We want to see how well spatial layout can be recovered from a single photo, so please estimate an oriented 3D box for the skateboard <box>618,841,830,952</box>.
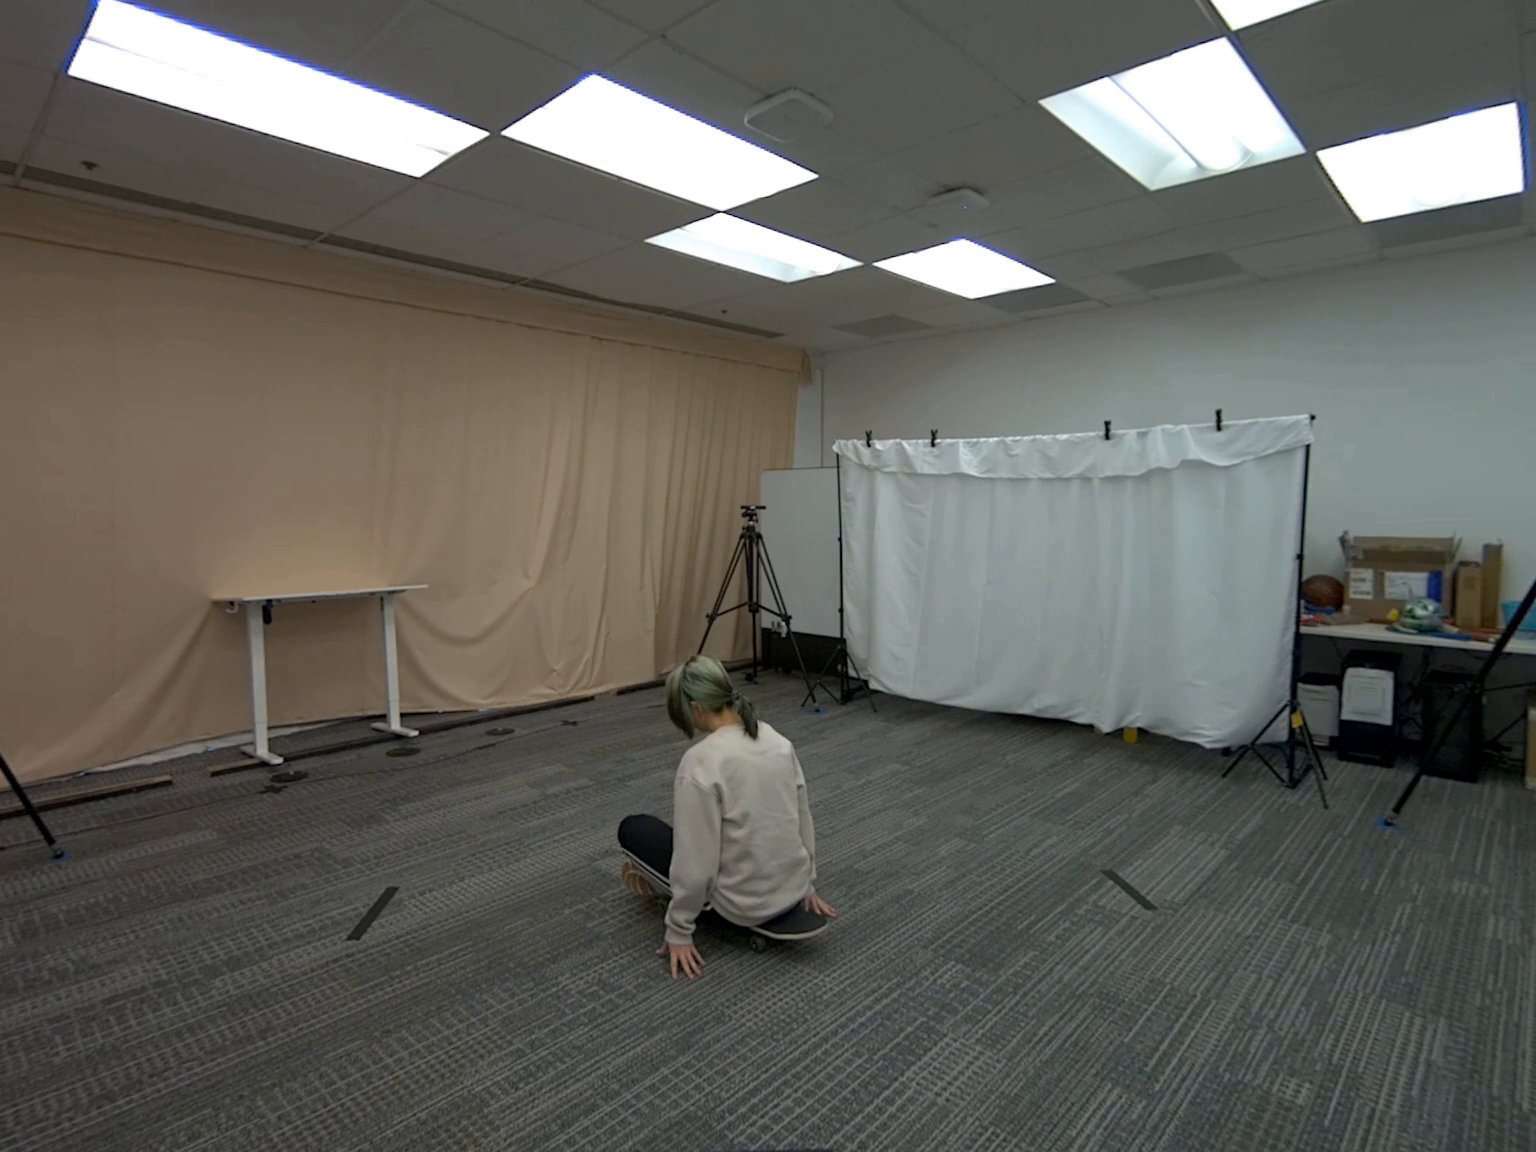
[{"bbox_3d":[-0.147,1.102,2.824,0.811,0.110,0.188,4,8,37],"label":"skateboard"}]
